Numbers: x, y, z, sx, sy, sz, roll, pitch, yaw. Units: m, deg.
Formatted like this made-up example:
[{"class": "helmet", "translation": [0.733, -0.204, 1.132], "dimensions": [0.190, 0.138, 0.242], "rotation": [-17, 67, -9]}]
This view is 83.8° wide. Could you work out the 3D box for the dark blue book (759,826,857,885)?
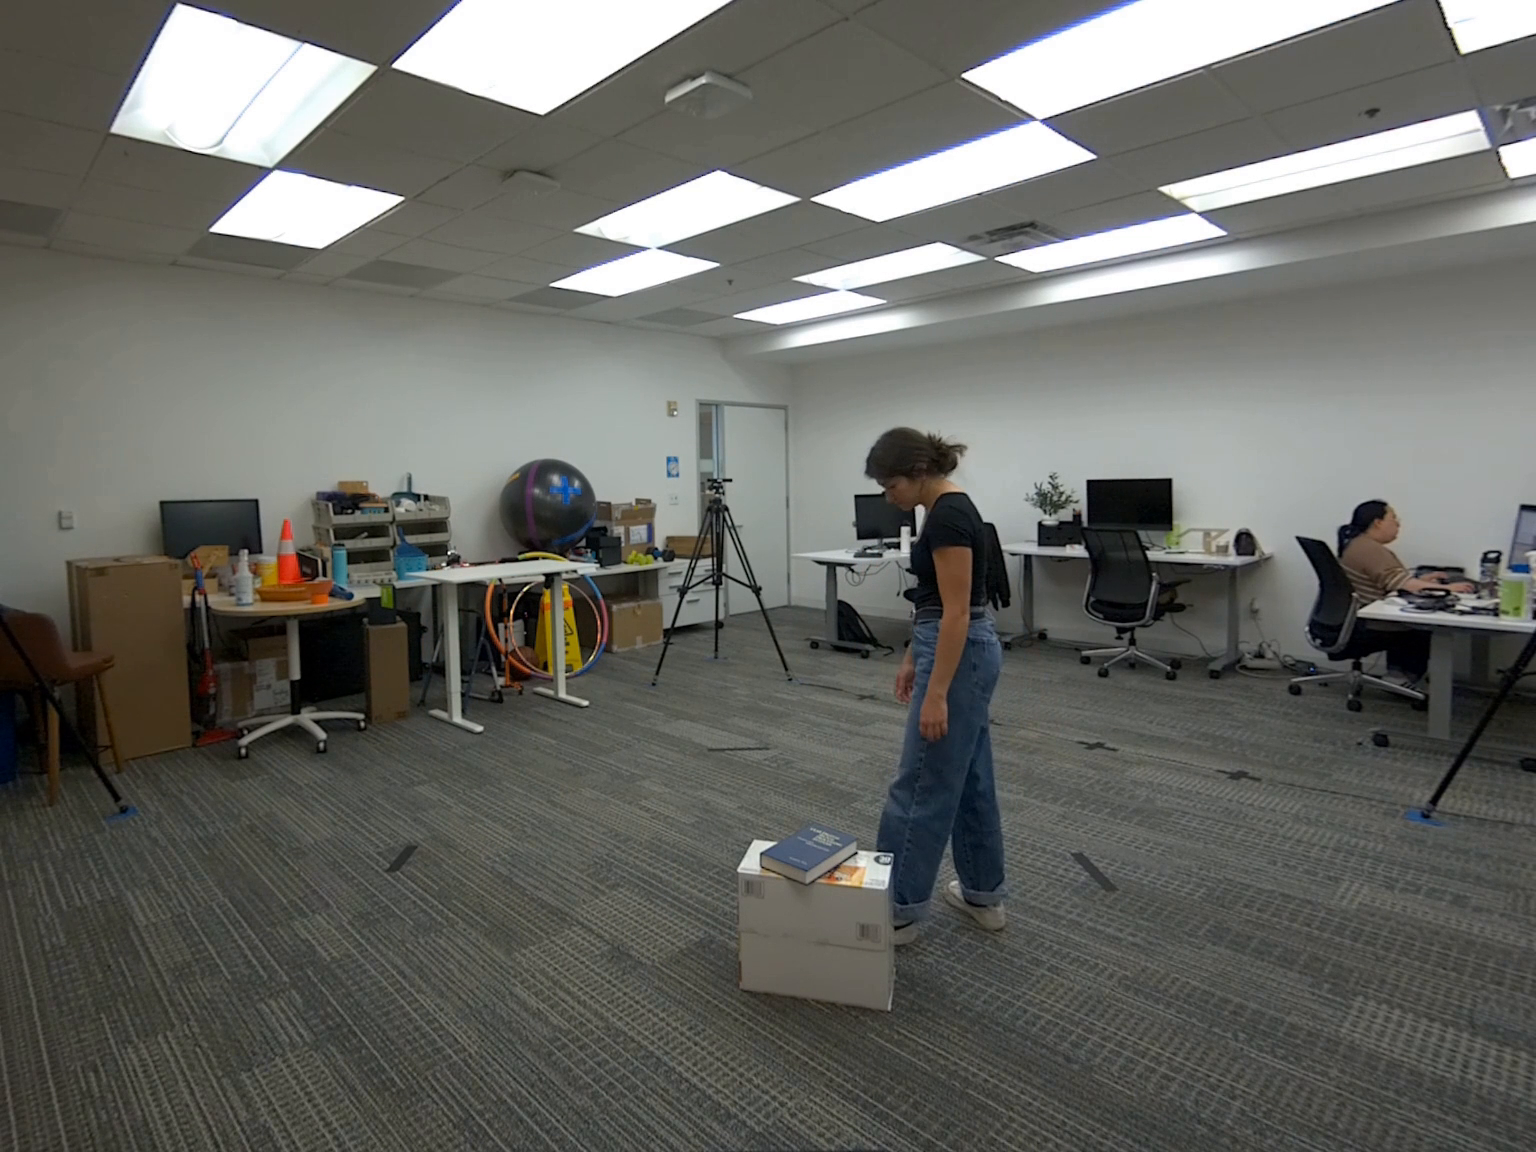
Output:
[{"class": "dark blue book", "translation": [0.115, 0.768, 2.370], "dimensions": [0.168, 0.045, 0.239], "rotation": [6, 10, 39]}]
